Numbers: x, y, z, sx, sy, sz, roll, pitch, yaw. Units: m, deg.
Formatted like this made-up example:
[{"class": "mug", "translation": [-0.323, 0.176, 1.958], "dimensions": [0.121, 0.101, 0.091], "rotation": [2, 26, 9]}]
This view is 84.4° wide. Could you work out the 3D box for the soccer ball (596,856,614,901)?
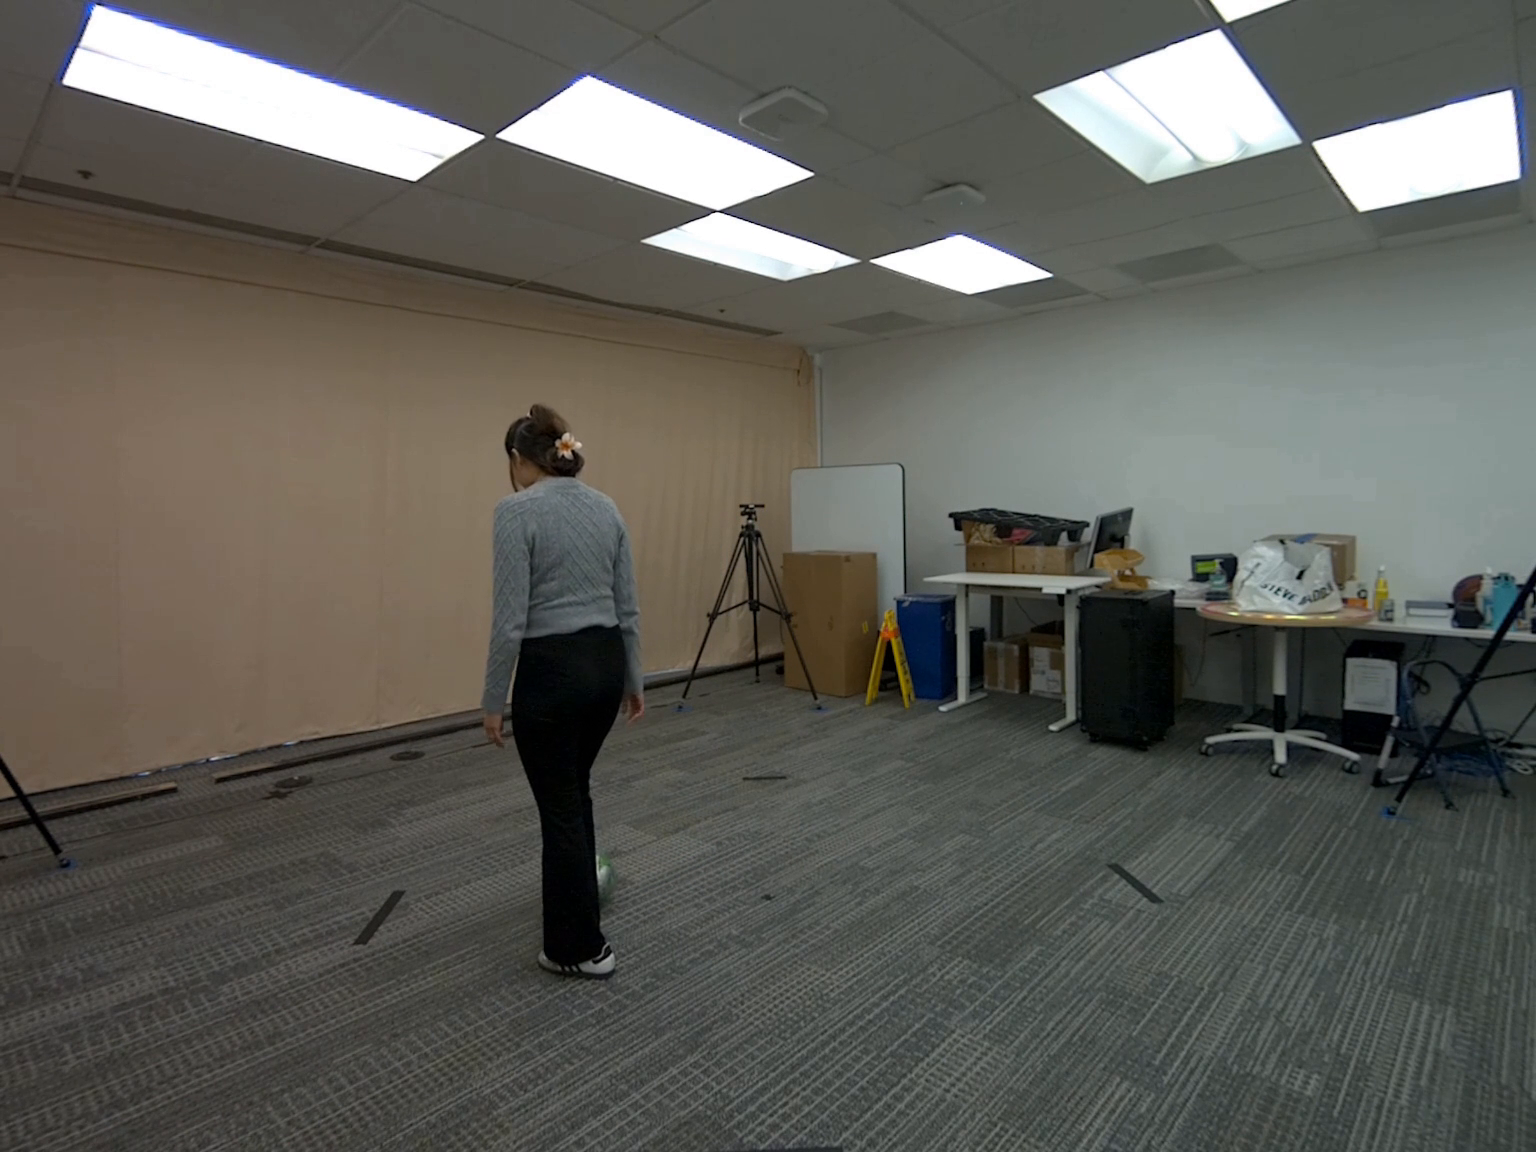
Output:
[{"class": "soccer ball", "translation": [-0.630, 1.064, 2.950], "dimensions": [0.187, 0.187, 0.188], "rotation": [-1, 4, -2]}]
